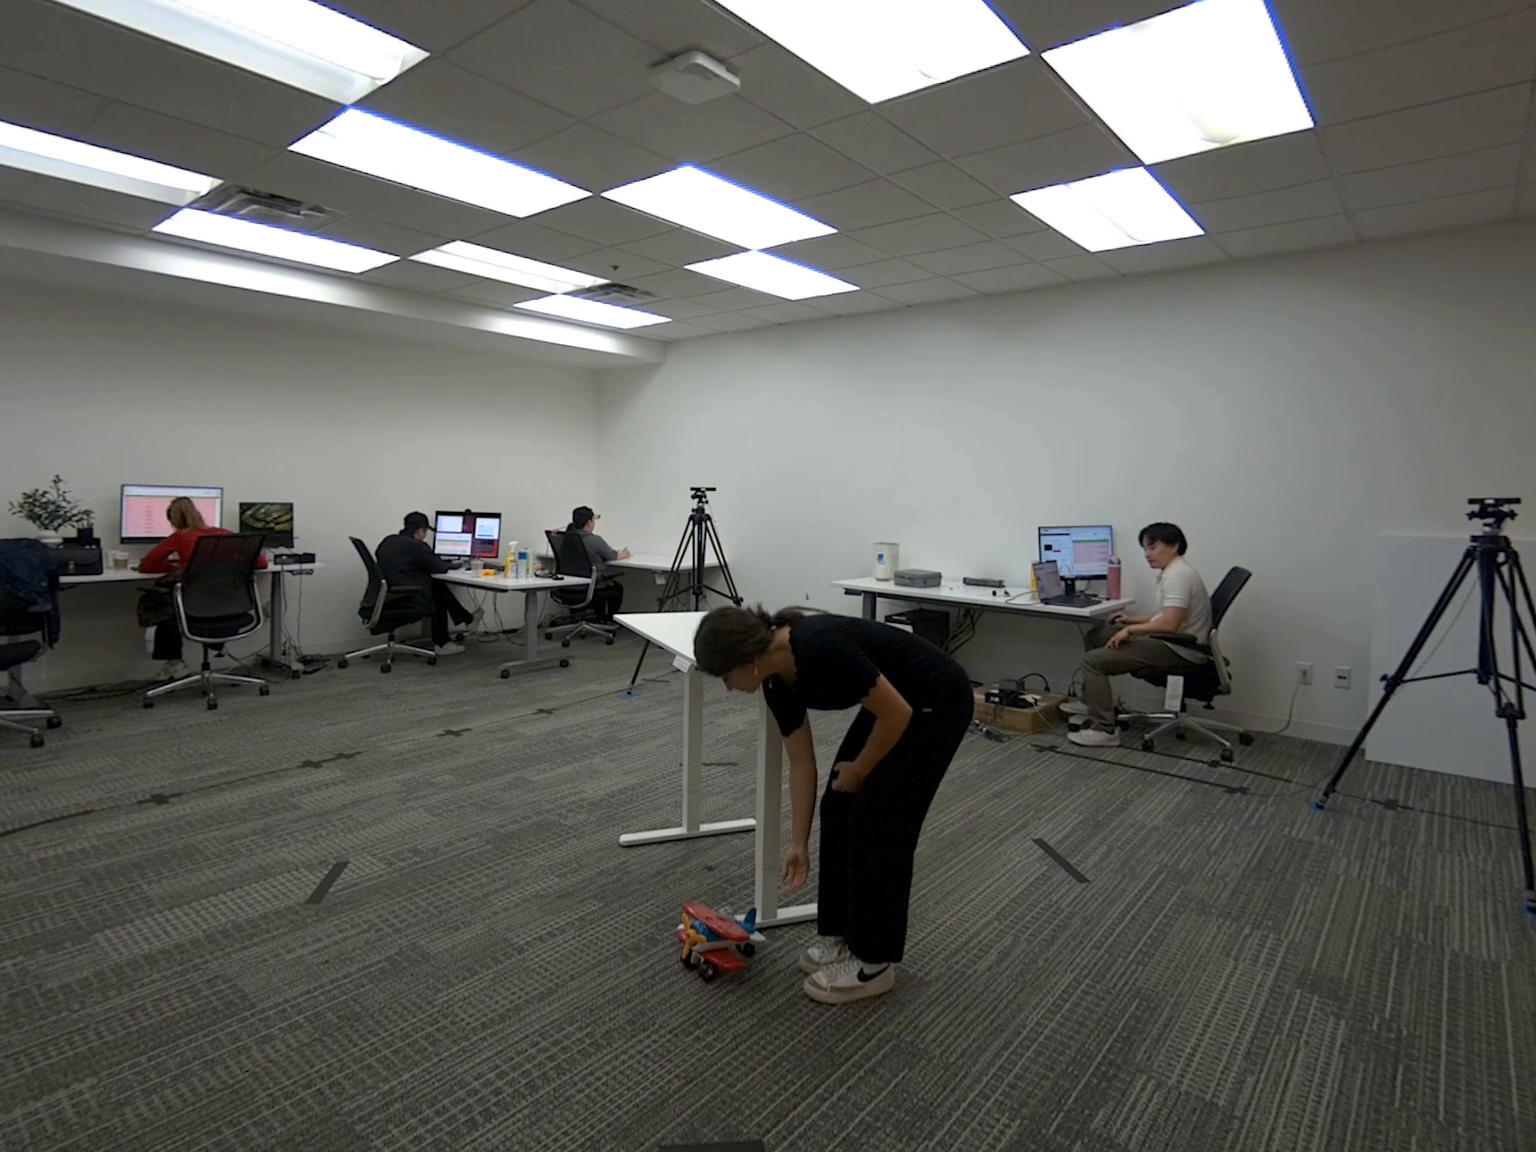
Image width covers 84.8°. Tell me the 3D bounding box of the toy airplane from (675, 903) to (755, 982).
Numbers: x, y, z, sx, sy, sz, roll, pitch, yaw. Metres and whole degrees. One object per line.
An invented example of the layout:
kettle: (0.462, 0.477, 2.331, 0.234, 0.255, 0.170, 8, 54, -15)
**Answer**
toy airplane: (-0.154, 1.053, 2.503, 0.257, 0.155, 0.255, 3, 7, 20)
